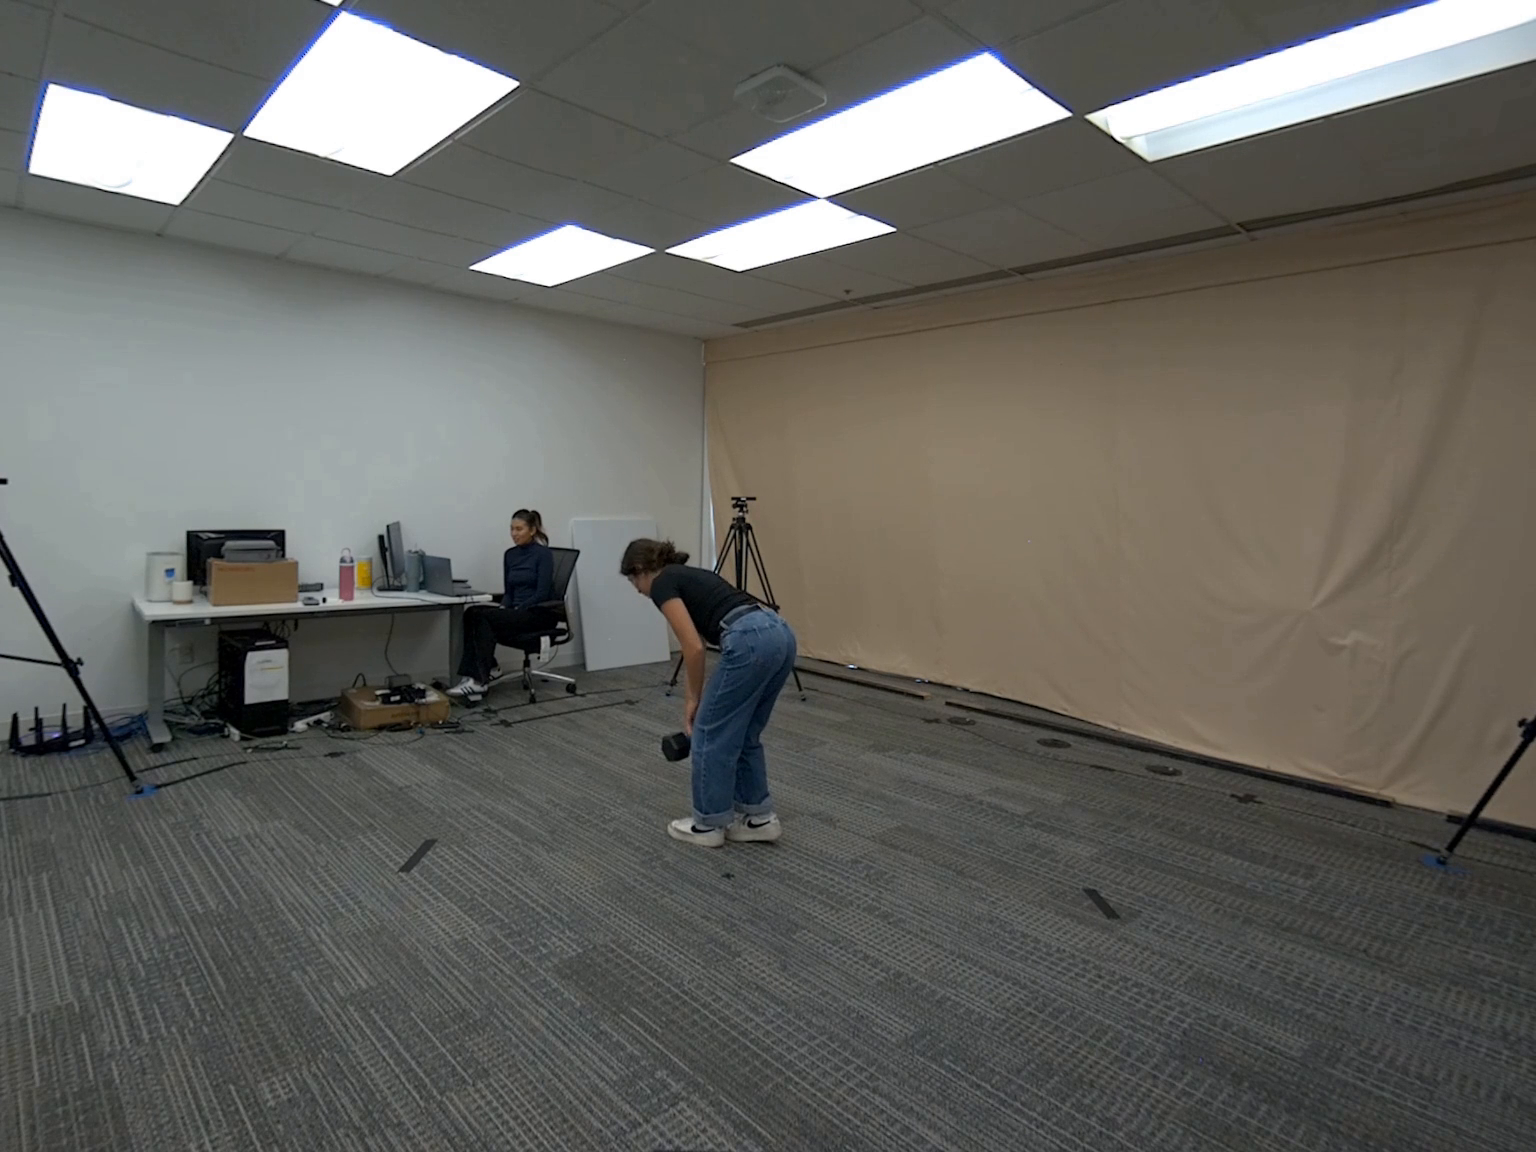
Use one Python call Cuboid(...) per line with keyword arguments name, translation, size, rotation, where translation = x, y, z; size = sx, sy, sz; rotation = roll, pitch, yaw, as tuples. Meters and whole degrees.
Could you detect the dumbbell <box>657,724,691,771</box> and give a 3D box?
Cuboid(name="dumbbell", translation=(-0.296, 0.680, 3.521), size=(0.288, 0.126, 0.108), rotation=(-13, -33, -43))
